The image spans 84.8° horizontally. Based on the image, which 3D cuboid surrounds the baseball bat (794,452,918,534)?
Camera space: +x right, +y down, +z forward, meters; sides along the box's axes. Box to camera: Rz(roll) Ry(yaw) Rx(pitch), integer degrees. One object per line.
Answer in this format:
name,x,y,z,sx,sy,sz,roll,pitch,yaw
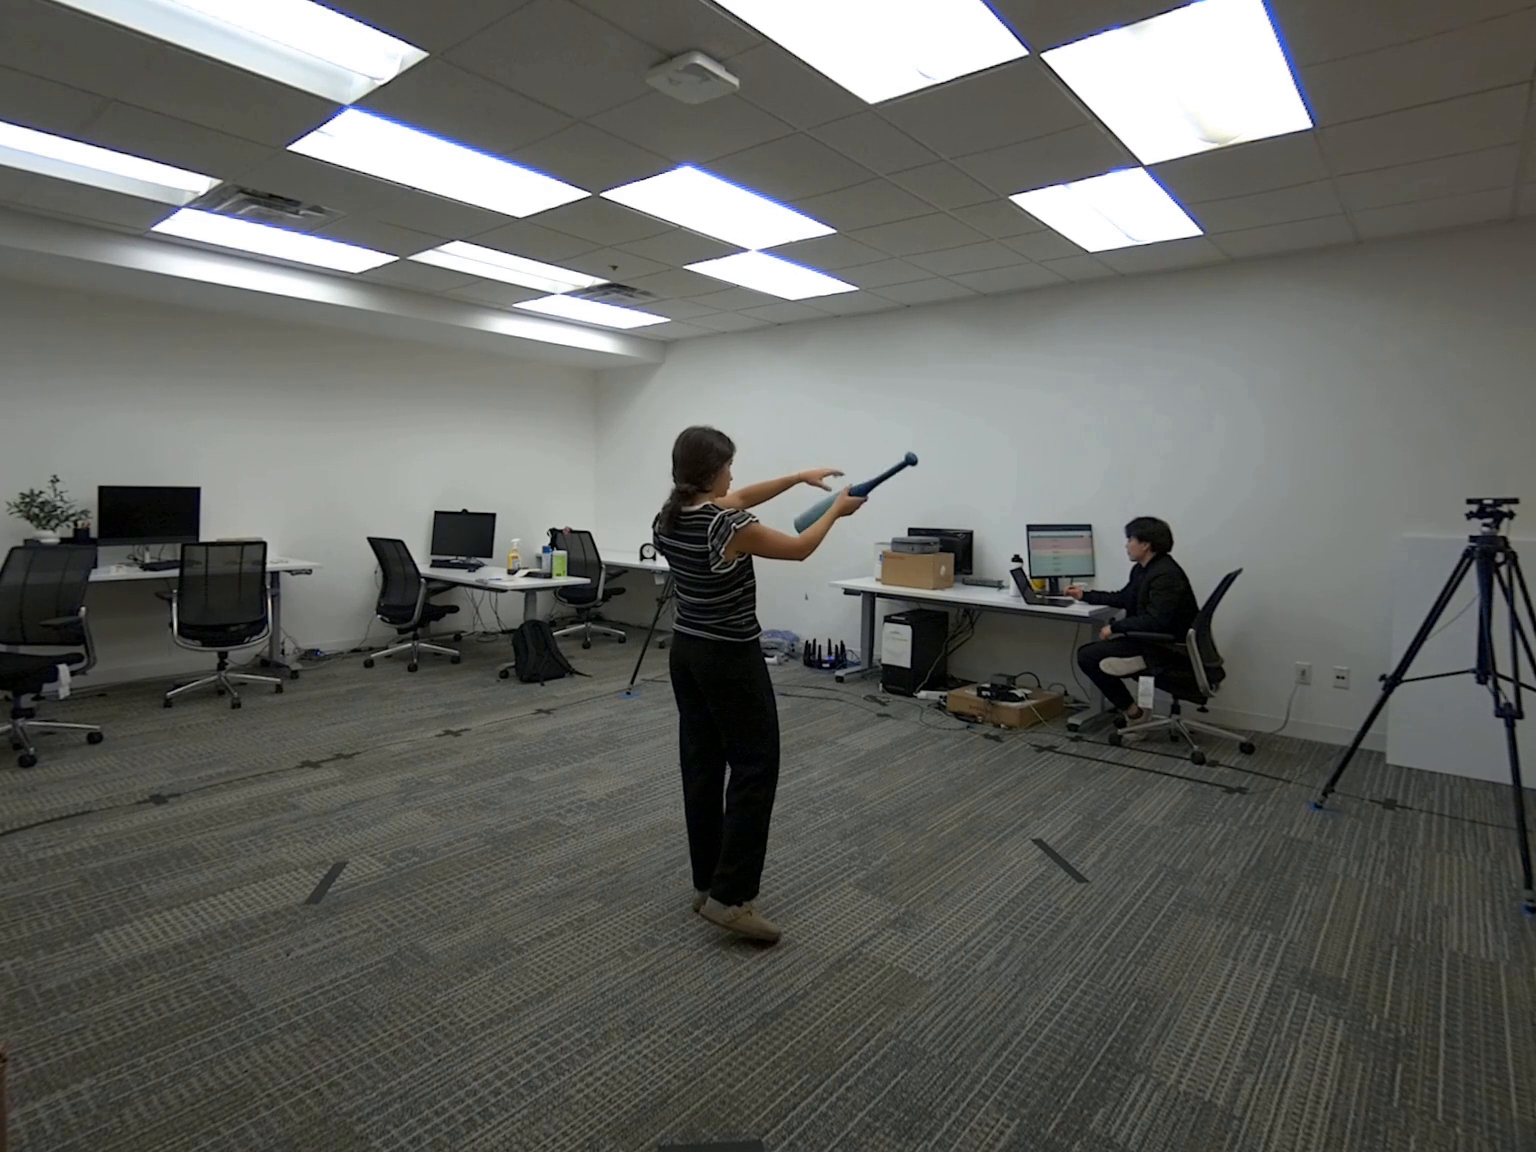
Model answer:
baseball bat,0.289,-0.284,2.976,0.550,0.090,0.086,-28,-16,39
